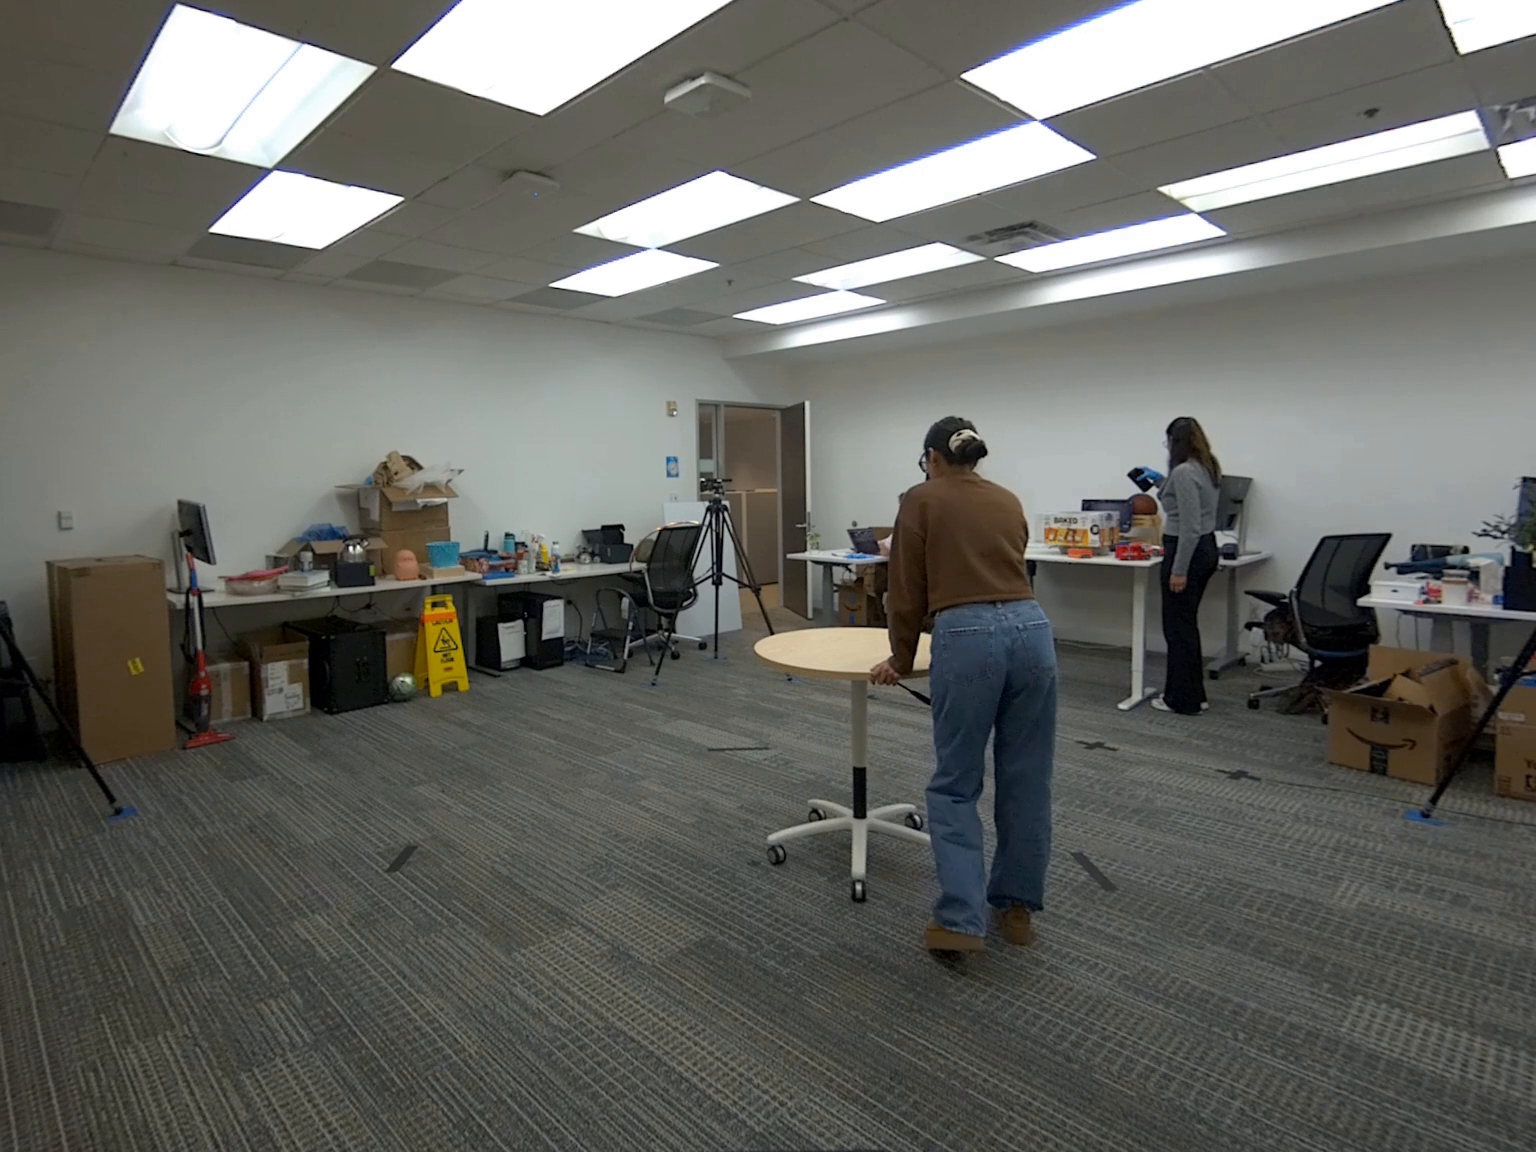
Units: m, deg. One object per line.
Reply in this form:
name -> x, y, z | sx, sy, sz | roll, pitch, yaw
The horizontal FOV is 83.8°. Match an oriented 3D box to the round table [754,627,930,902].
round table -> 0.344, 0.650, 3.143 | 0.763, 0.791, 0.768 | -1, 5, -2
